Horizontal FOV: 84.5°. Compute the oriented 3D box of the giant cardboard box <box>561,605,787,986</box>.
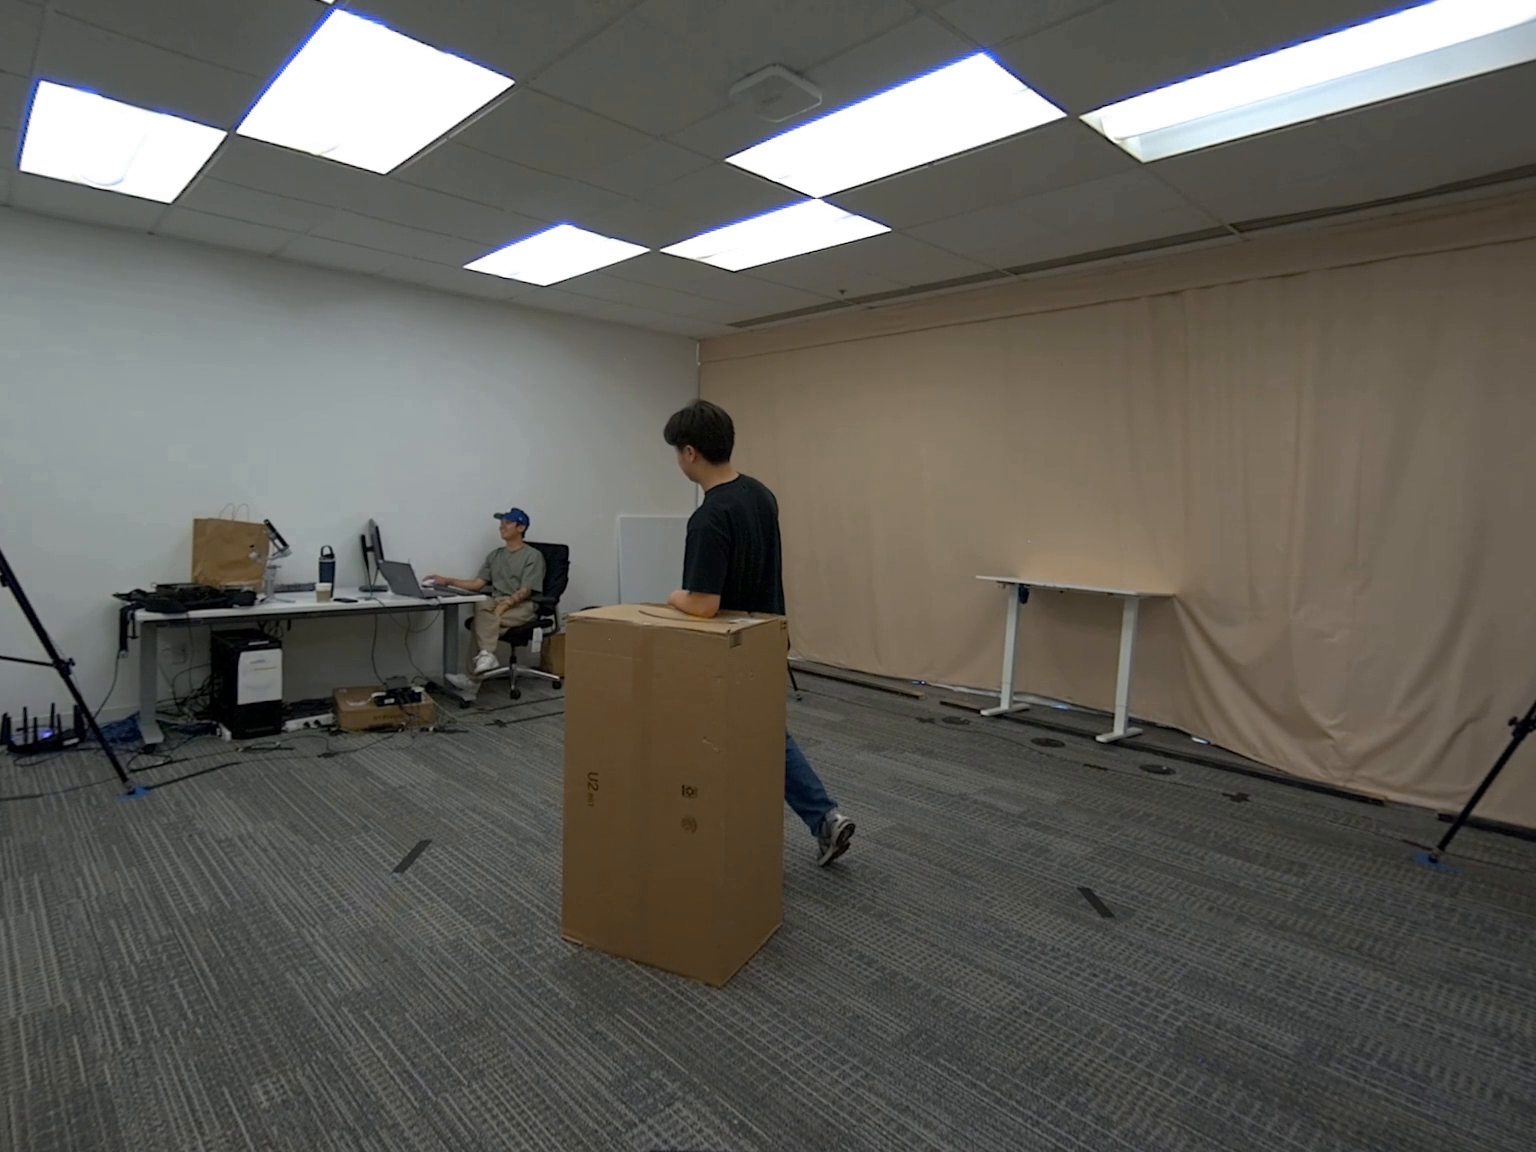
[{"bbox_3d":[-0.298,0.632,2.673,0.596,1.025,0.438,3,3,28],"label":"giant cardboard box"}]
